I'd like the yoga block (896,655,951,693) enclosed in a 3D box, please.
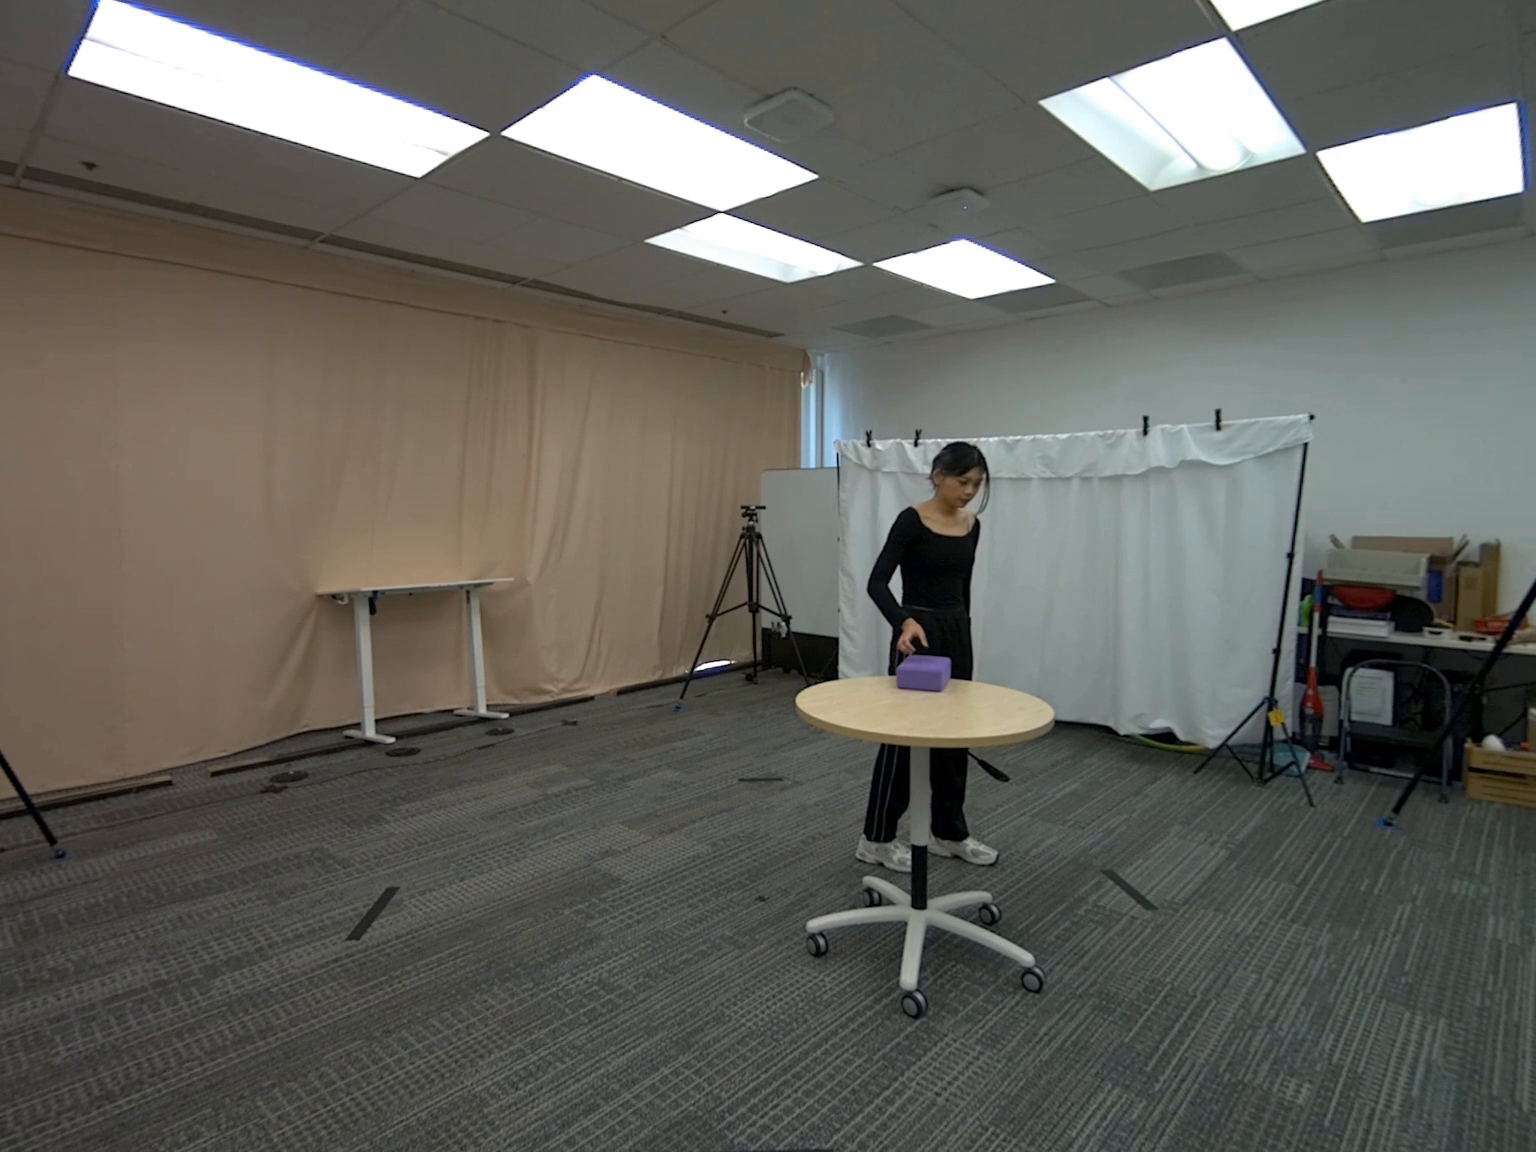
[{"bbox_3d":[0.538,0.328,2.845,0.152,0.076,0.225,3,6,20],"label":"yoga block"}]
